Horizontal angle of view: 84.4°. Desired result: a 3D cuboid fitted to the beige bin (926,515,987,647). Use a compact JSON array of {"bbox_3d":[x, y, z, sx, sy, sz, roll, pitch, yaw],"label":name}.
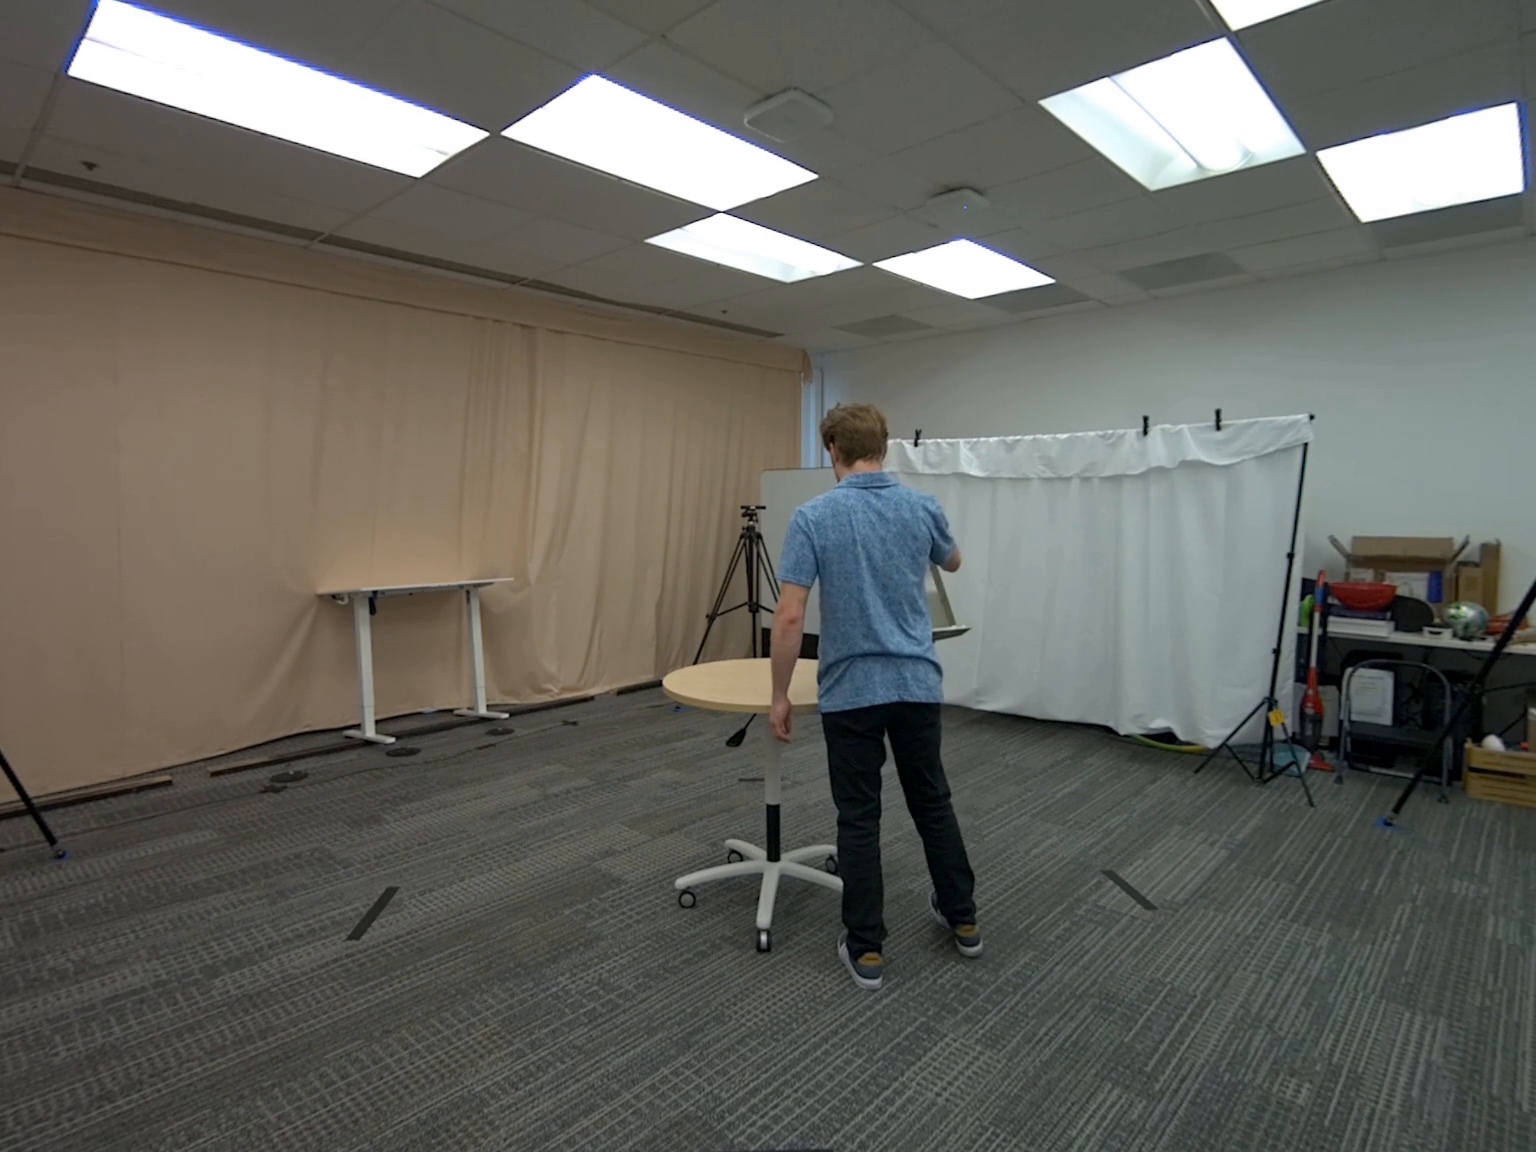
[{"bbox_3d":[0.491,0.022,2.946,0.367,0.429,0.191,-3,-22,-30],"label":"beige bin"}]
